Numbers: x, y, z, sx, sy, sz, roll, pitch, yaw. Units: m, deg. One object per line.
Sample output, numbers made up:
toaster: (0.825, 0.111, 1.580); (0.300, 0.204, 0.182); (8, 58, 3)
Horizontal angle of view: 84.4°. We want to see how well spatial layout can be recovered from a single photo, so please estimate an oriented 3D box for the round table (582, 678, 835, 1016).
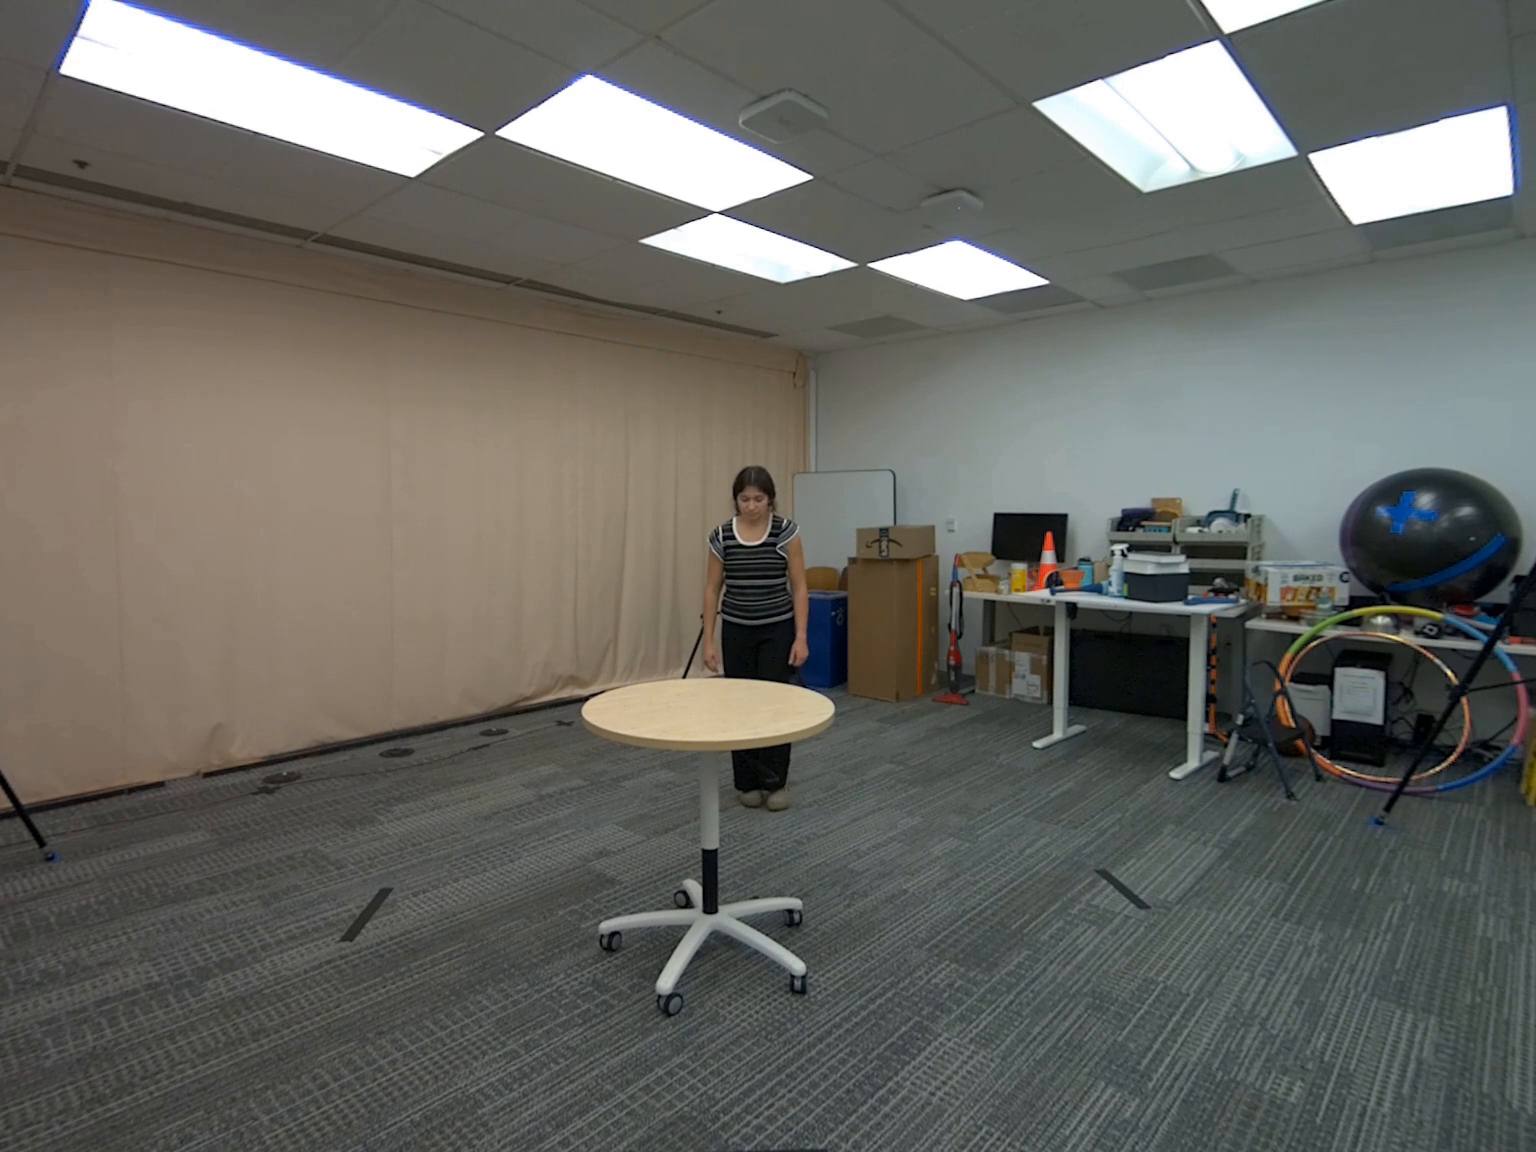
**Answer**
round table: (-0.179, 0.785, 2.597); (0.763, 0.792, 0.767); (0, 4, -2)
